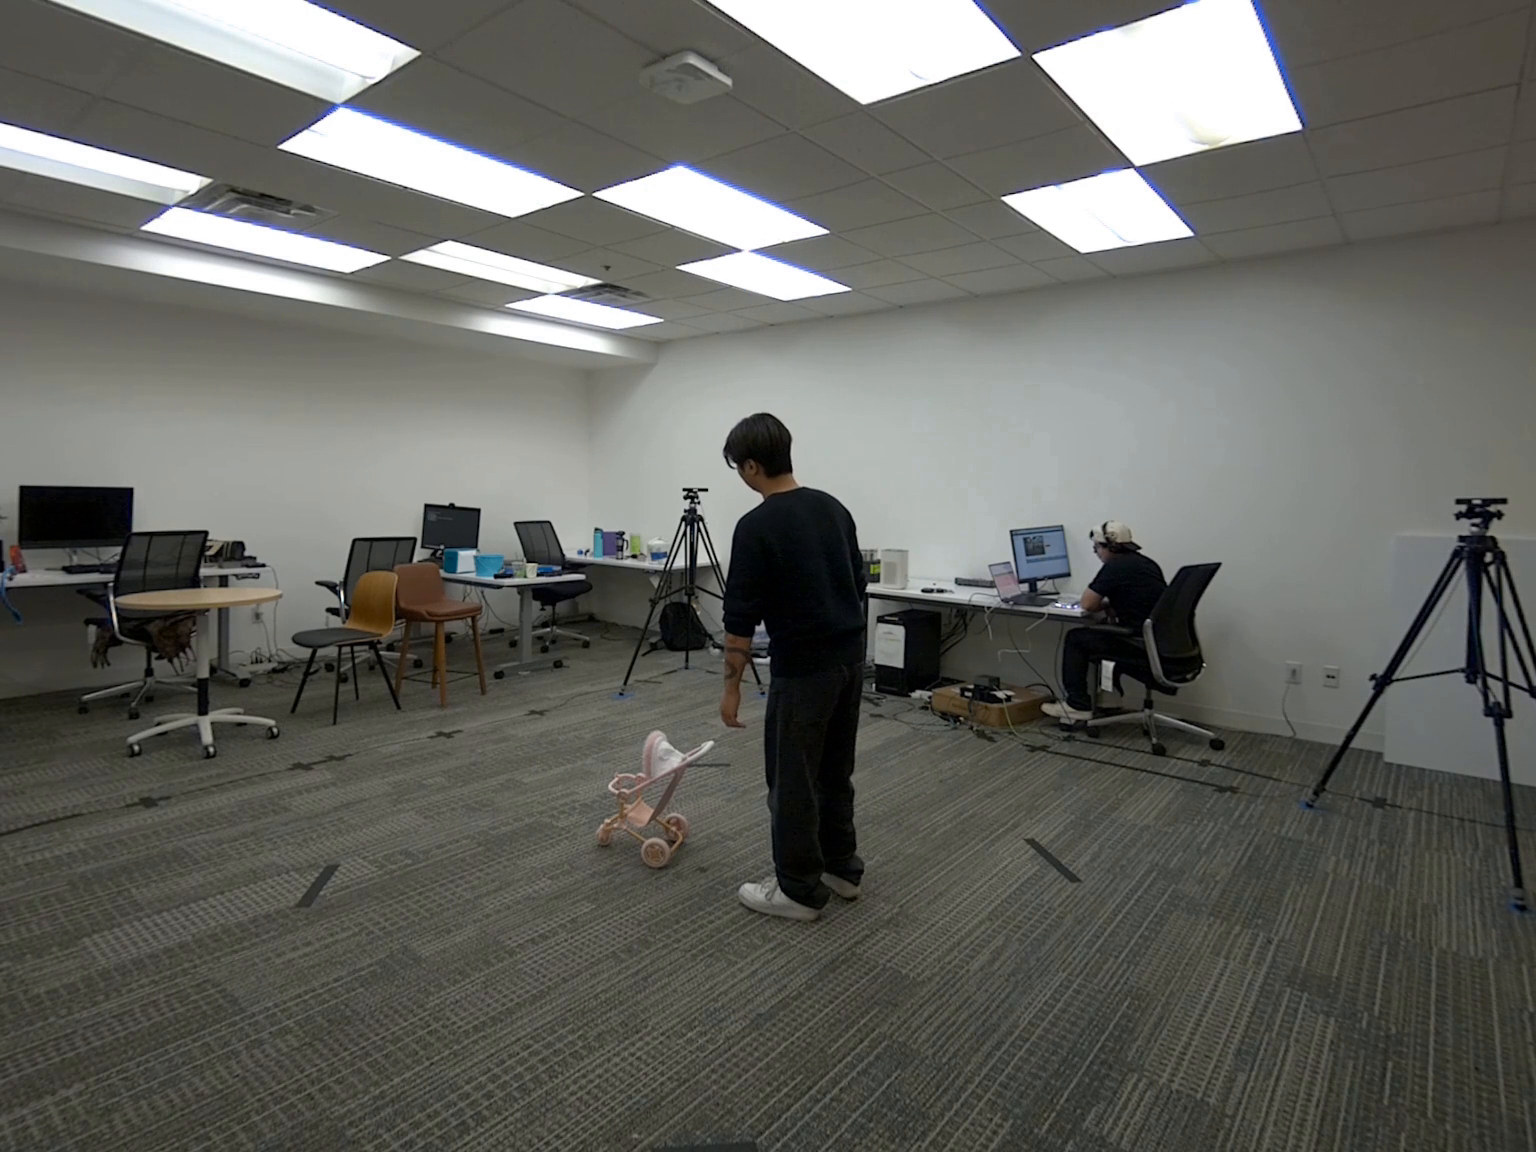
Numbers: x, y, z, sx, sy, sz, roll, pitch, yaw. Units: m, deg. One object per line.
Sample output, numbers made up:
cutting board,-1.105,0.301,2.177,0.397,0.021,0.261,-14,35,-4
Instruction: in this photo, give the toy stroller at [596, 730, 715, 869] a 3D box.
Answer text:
toy stroller,-0.457,0.829,3.247,0.349,0.532,0.277,19,8,16
